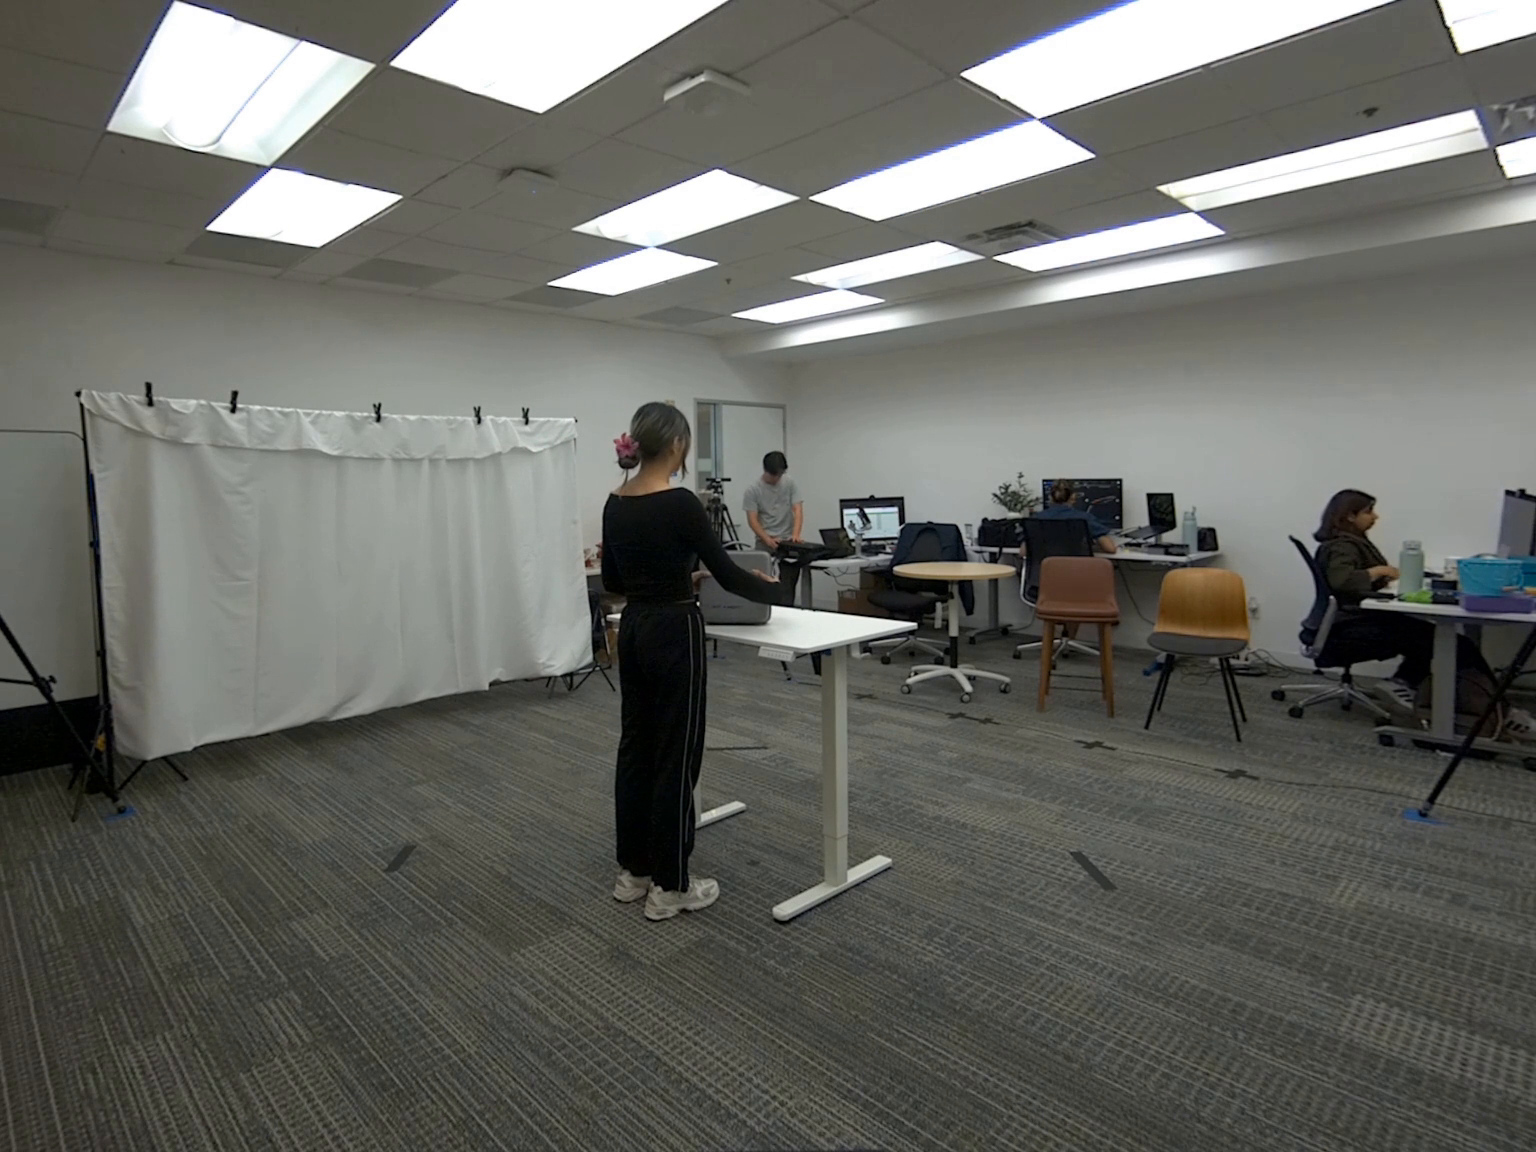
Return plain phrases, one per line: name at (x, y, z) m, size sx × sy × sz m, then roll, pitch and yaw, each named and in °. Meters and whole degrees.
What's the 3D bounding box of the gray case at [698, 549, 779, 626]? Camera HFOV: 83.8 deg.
gray case at (-0.113, 0.037, 3.032) m, size 0.258 × 0.262 × 0.103 m, roll 0°, pitch -7°, yaw 4°
